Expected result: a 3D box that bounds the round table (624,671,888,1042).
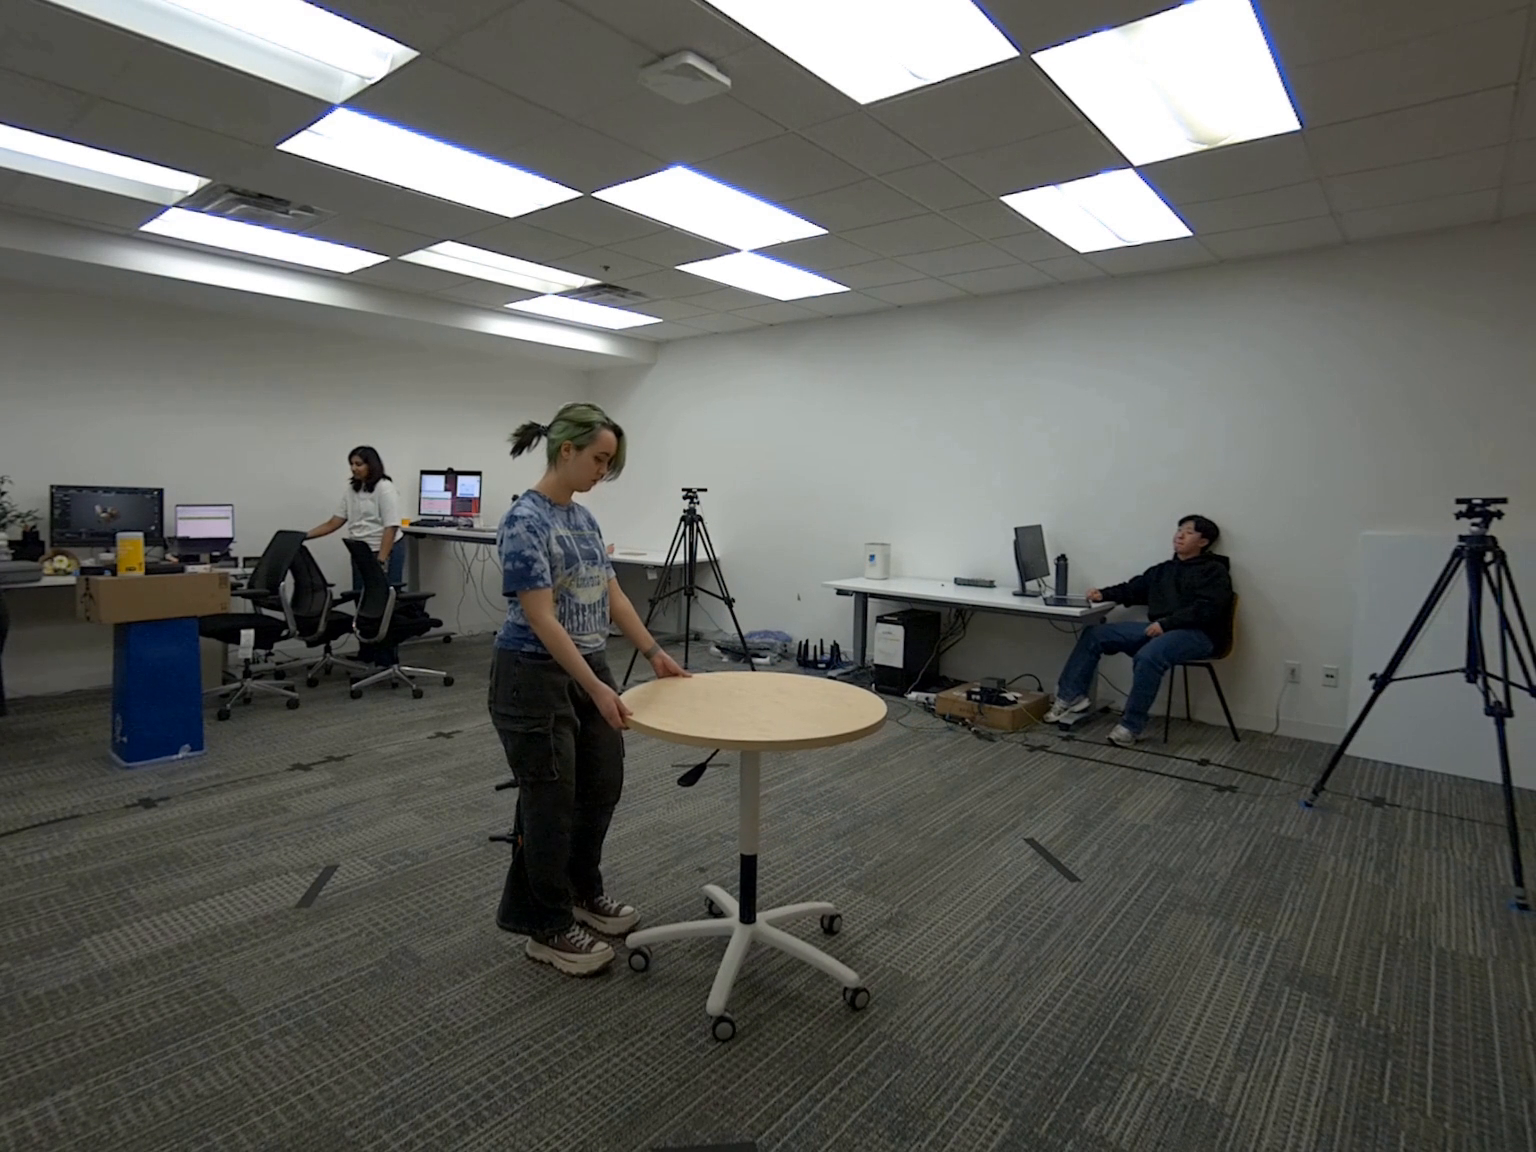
[{"bbox_3d":[-0.053,0.750,2.460,0.763,0.791,0.768,0,5,-2],"label":"round table"}]
